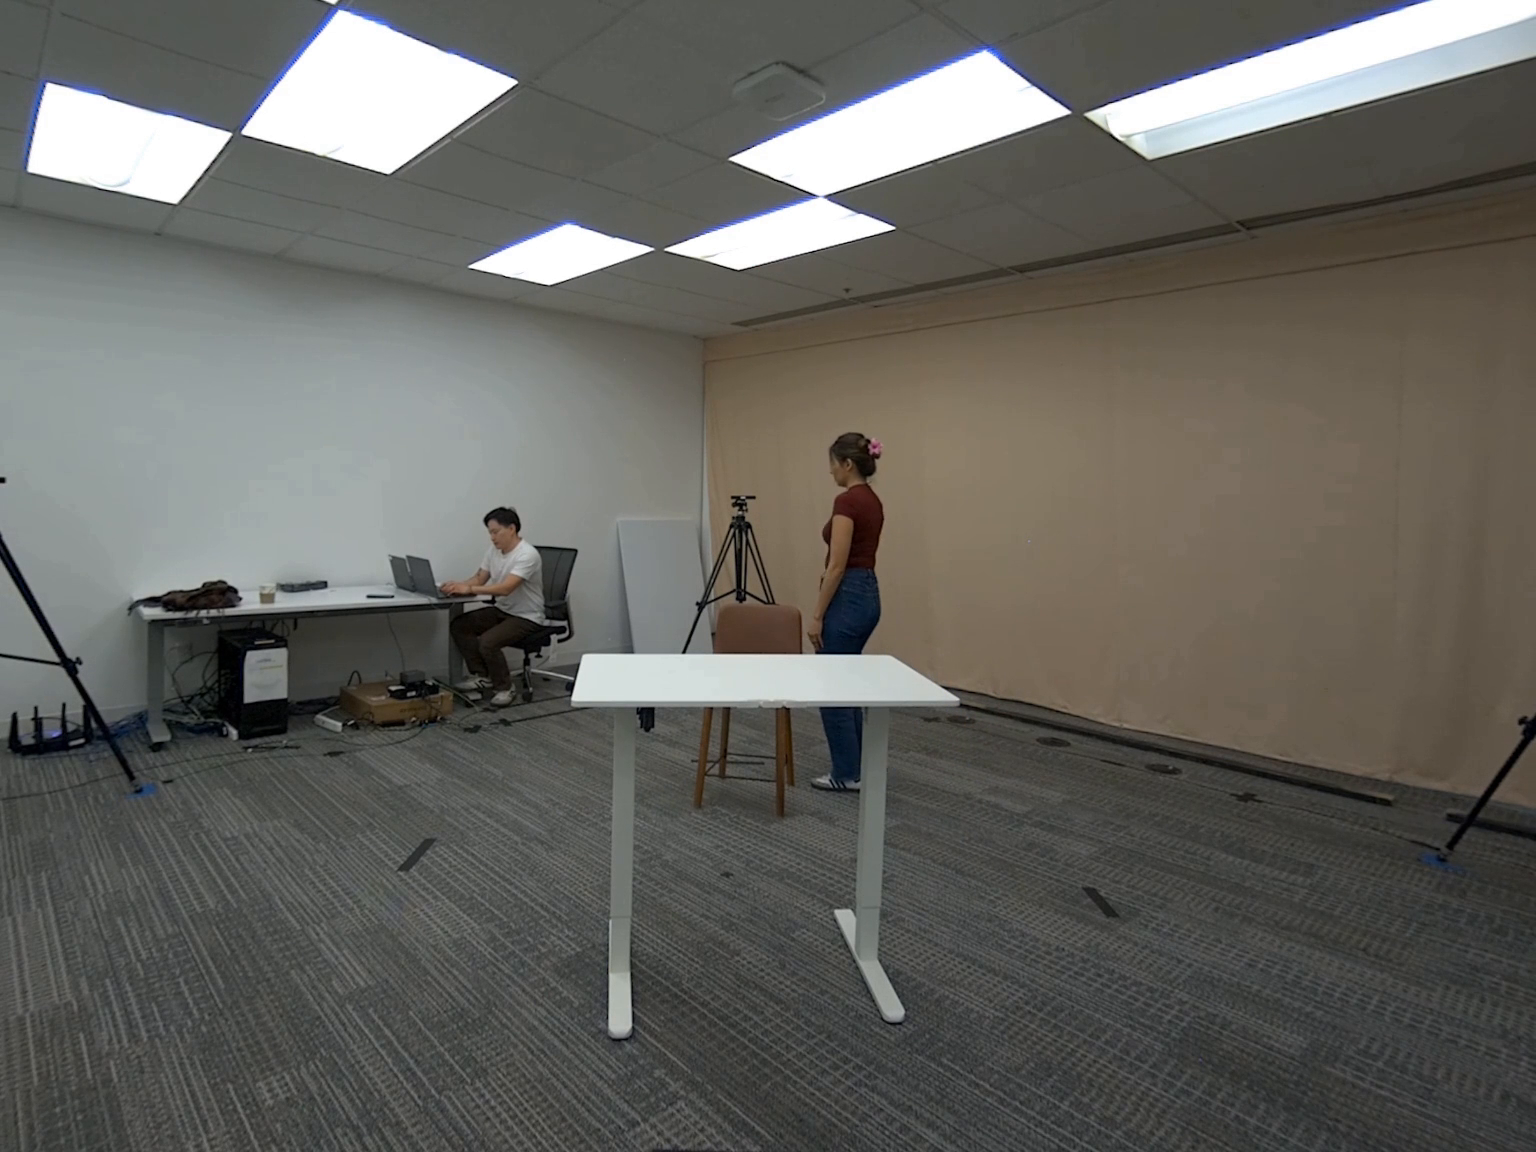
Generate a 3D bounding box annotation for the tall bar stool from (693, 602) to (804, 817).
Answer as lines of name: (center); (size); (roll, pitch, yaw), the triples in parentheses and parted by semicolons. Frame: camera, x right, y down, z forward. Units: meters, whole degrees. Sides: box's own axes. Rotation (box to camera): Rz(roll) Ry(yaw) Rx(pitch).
tall bar stool: (-0.092, 0.602, 3.931); (0.461, 0.889, 0.463); (3, 2, 11)
